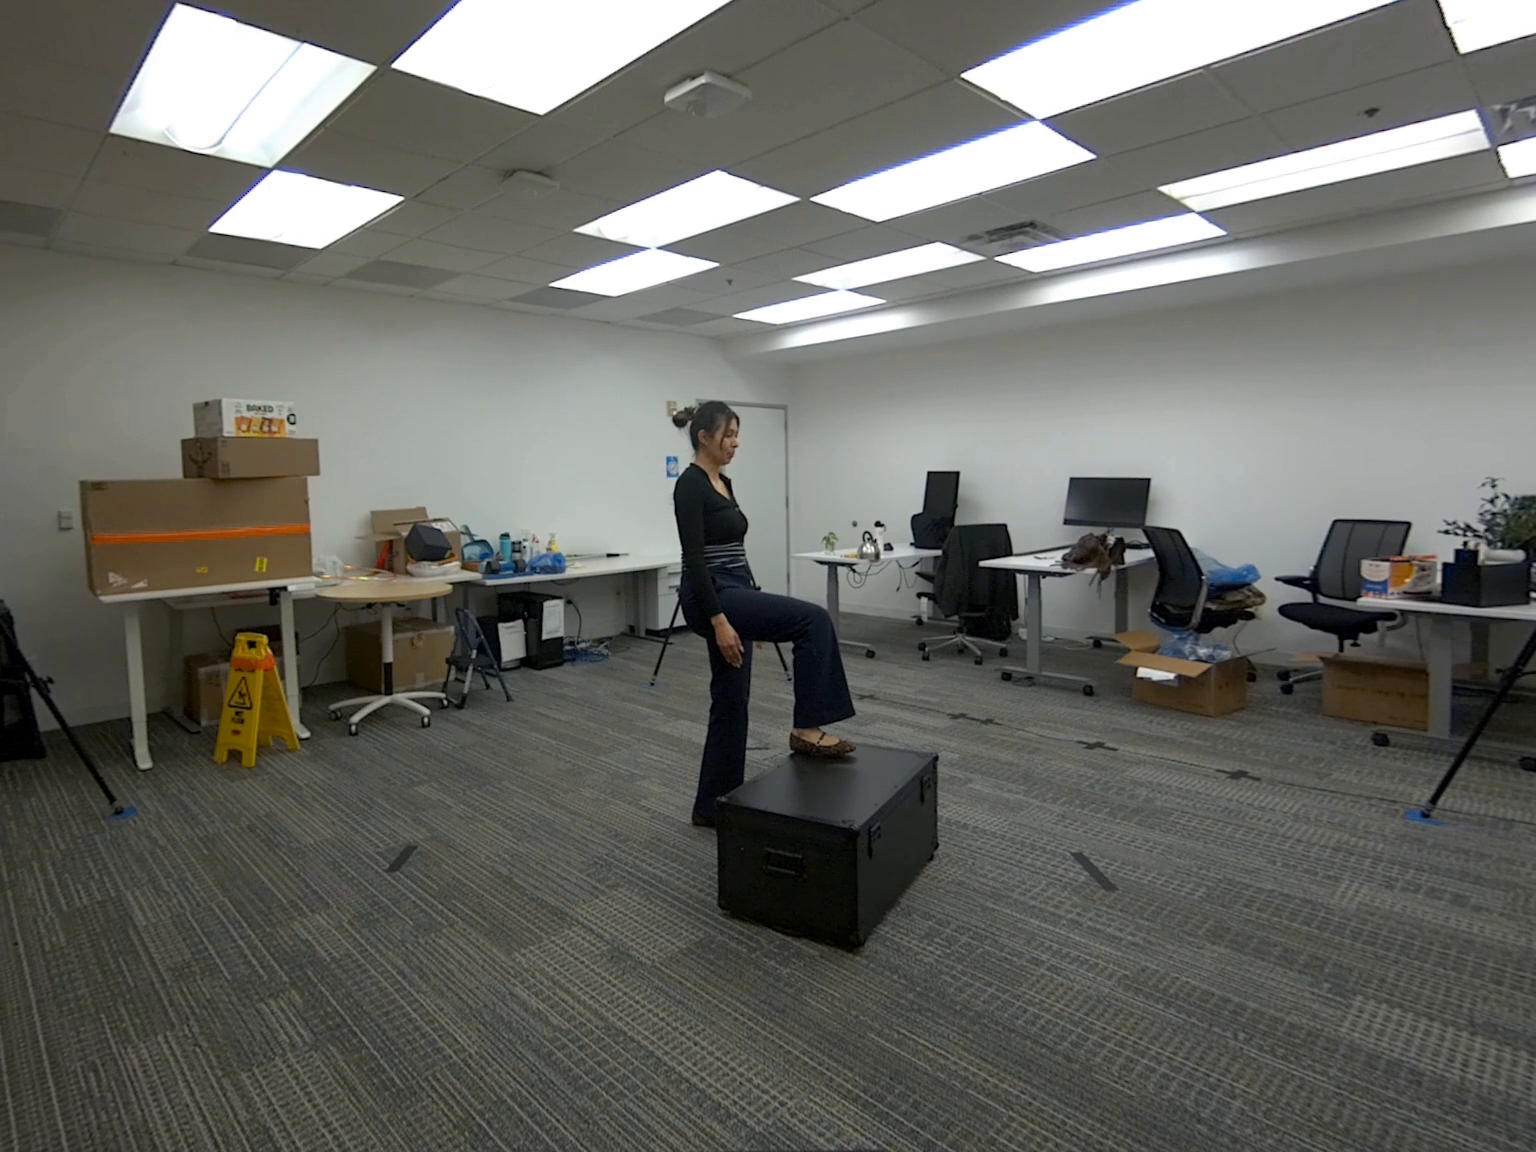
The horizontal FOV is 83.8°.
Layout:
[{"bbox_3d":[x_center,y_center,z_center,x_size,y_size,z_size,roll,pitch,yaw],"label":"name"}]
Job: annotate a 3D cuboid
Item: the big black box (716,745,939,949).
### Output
[{"bbox_3d":[0.252,0.867,2.957,0.534,0.394,0.843,1,7,29],"label":"big black box"}]
